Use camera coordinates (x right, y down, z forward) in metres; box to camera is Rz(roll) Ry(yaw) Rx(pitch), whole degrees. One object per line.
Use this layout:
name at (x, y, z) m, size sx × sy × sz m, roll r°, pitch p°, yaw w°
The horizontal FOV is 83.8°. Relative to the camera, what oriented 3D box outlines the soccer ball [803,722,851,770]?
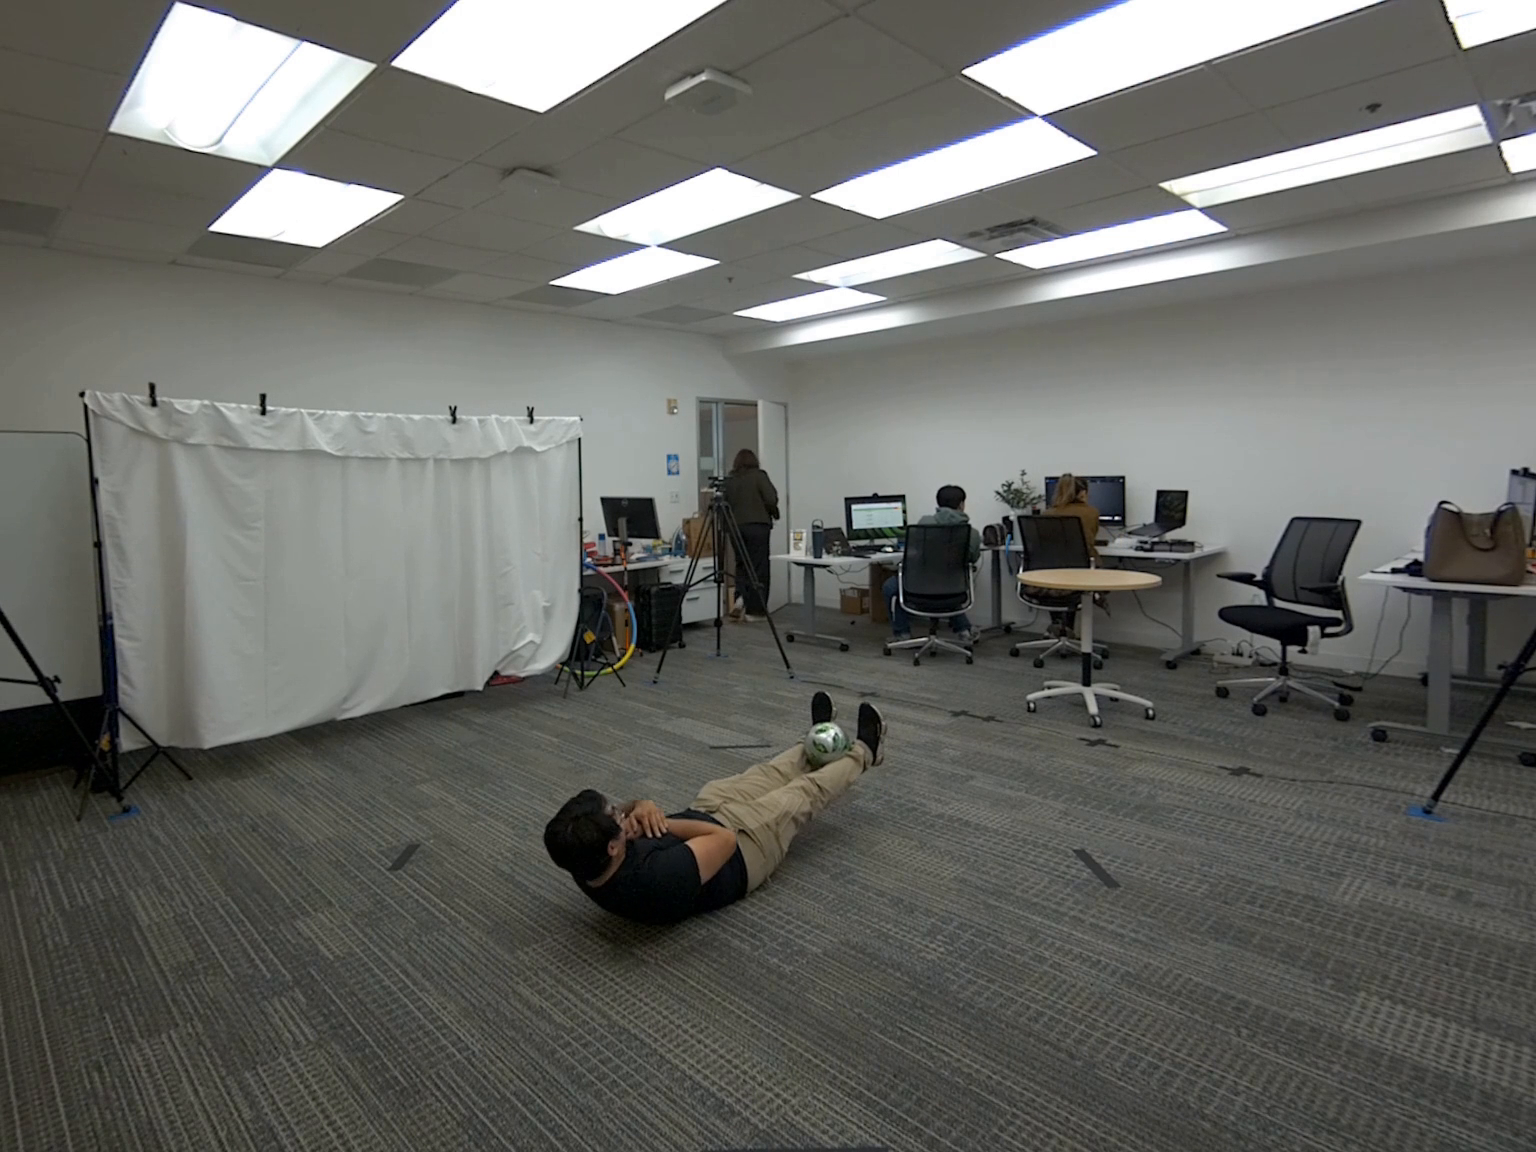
soccer ball at (0.245, 0.690, 3.454) m, size 0.187 × 0.187 × 0.188 m, roll -1°, pitch 4°, yaw -2°
